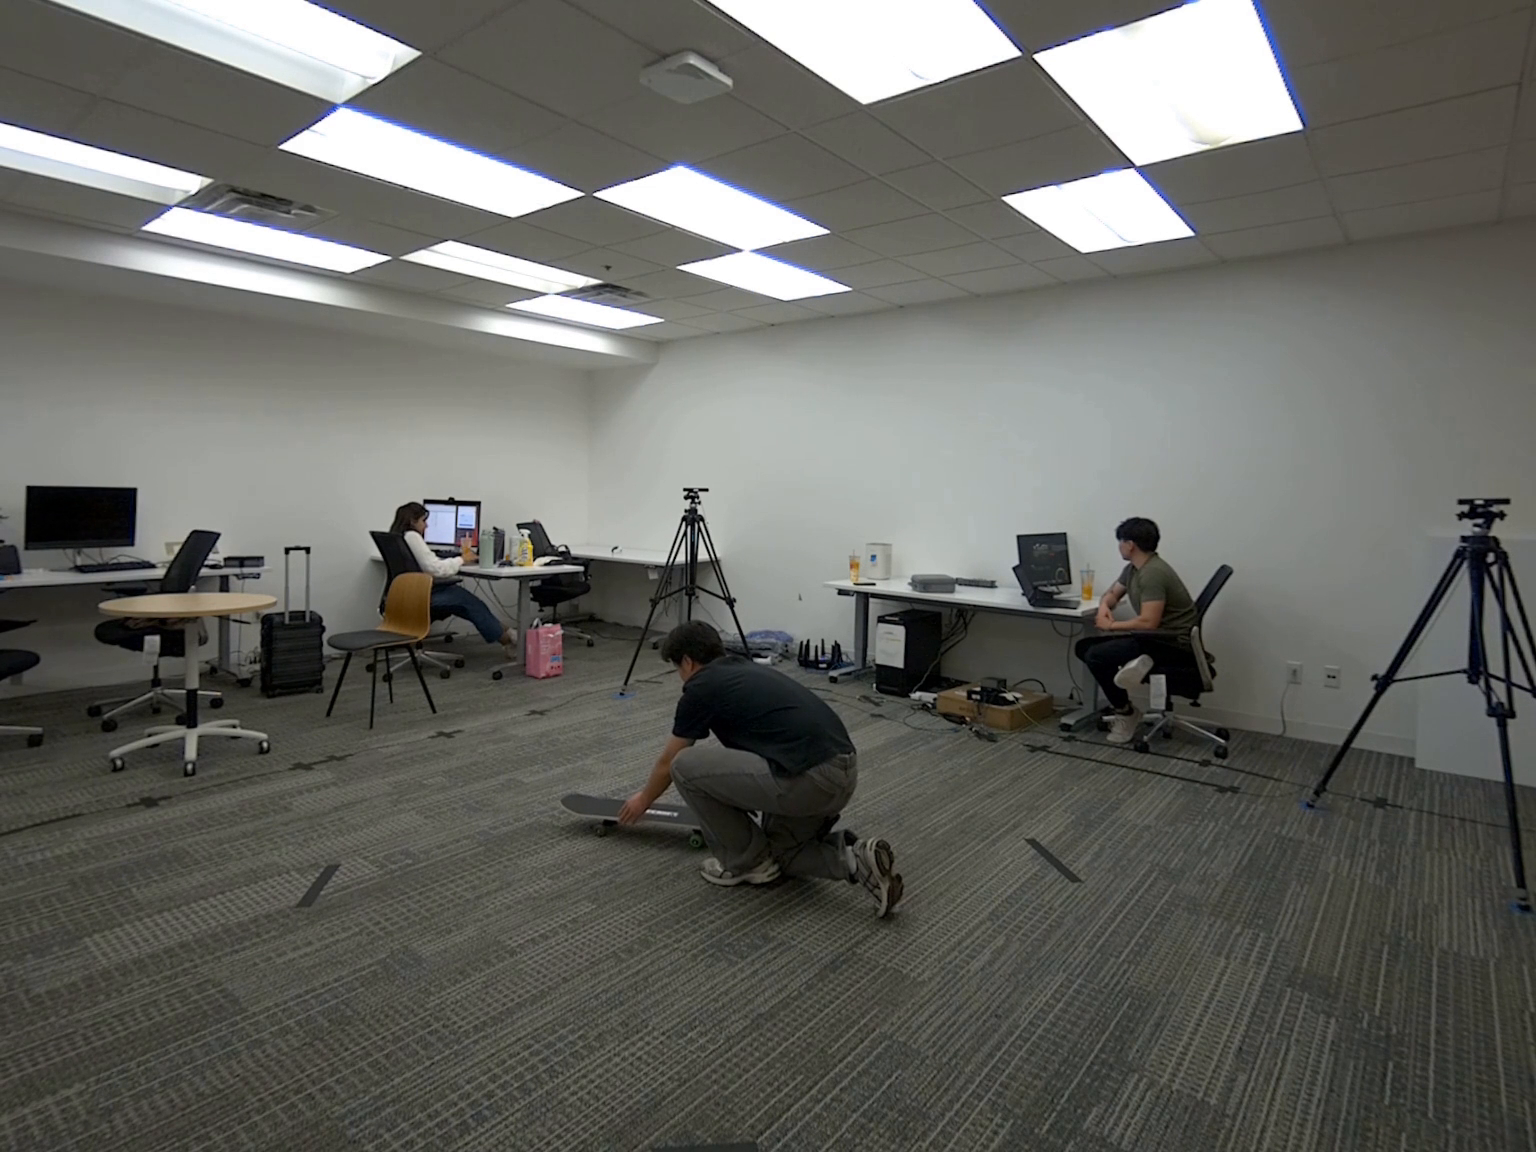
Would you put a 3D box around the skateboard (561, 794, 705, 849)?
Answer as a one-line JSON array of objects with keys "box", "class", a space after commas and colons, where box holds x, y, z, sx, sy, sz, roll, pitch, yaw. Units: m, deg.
[{"box": [-0.473, 0.973, 3.415, 0.796, 0.110, 0.192, 3, 6, 11], "class": "skateboard"}]
